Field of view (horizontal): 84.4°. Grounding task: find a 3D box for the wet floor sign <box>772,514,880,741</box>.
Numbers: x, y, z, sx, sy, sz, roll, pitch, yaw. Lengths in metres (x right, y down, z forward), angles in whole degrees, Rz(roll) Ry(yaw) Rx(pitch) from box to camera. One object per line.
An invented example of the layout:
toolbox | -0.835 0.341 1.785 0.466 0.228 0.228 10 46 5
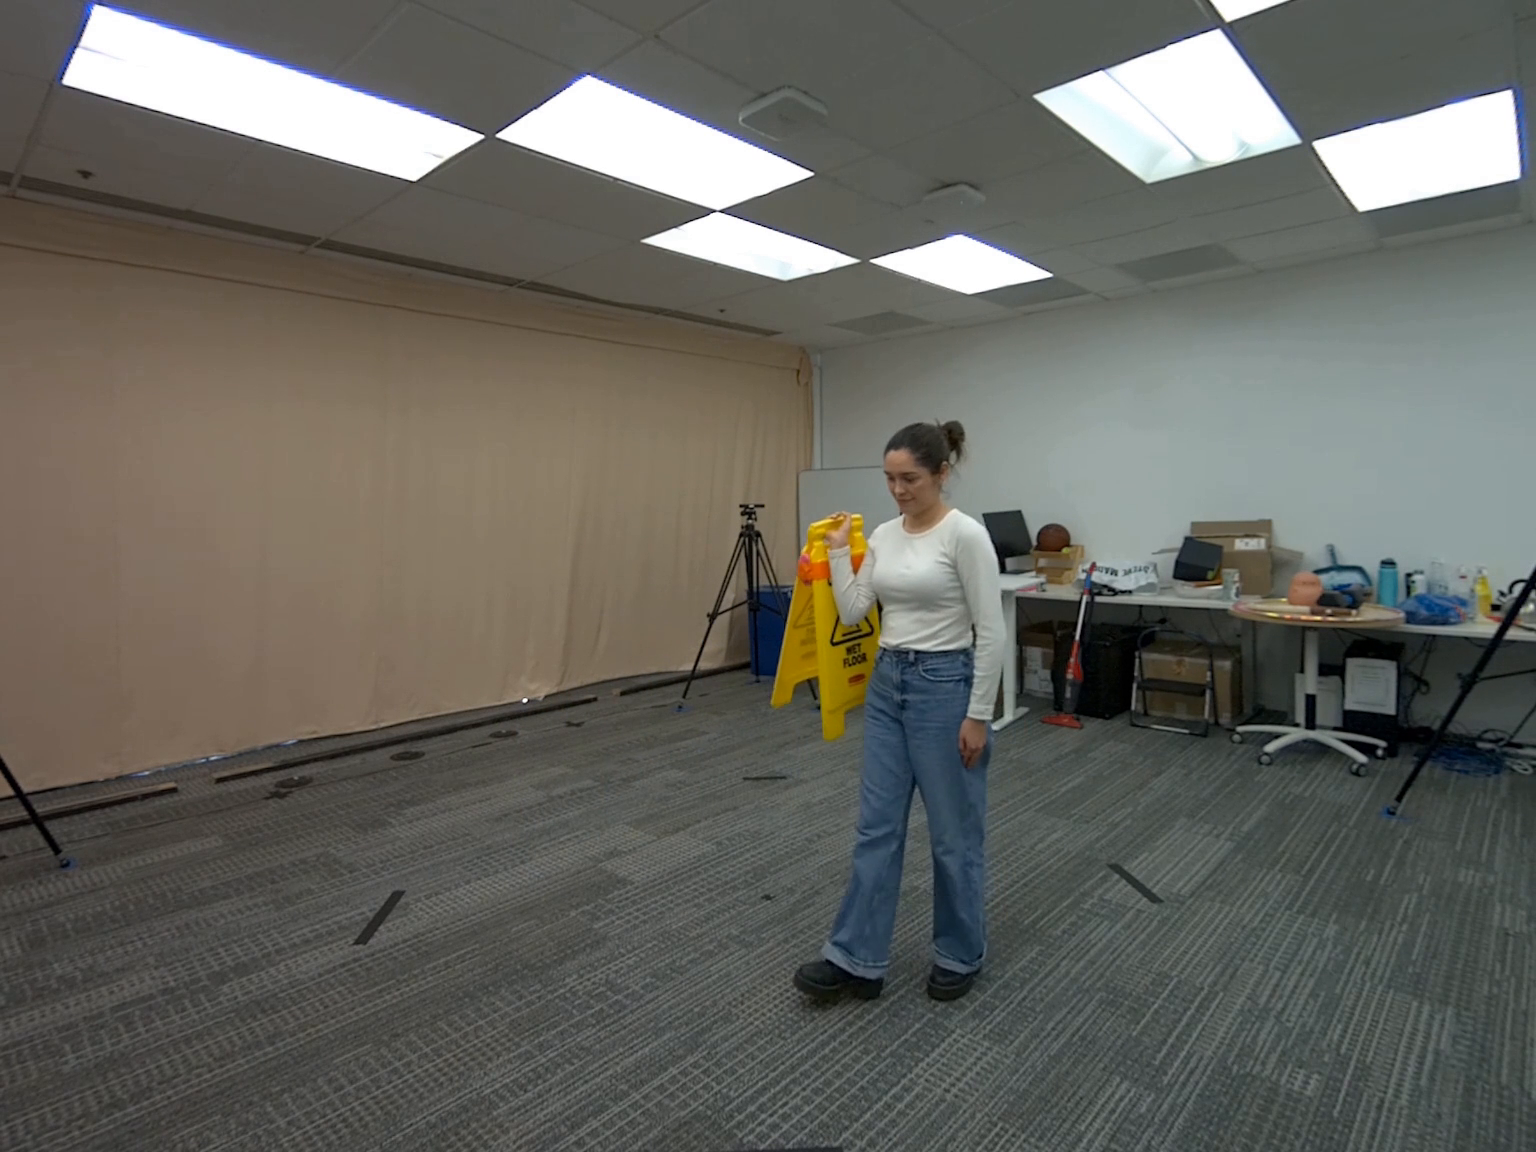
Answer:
wet floor sign | 0.204 0.135 2.627 0.275 0.639 0.300 -11 21 -34
